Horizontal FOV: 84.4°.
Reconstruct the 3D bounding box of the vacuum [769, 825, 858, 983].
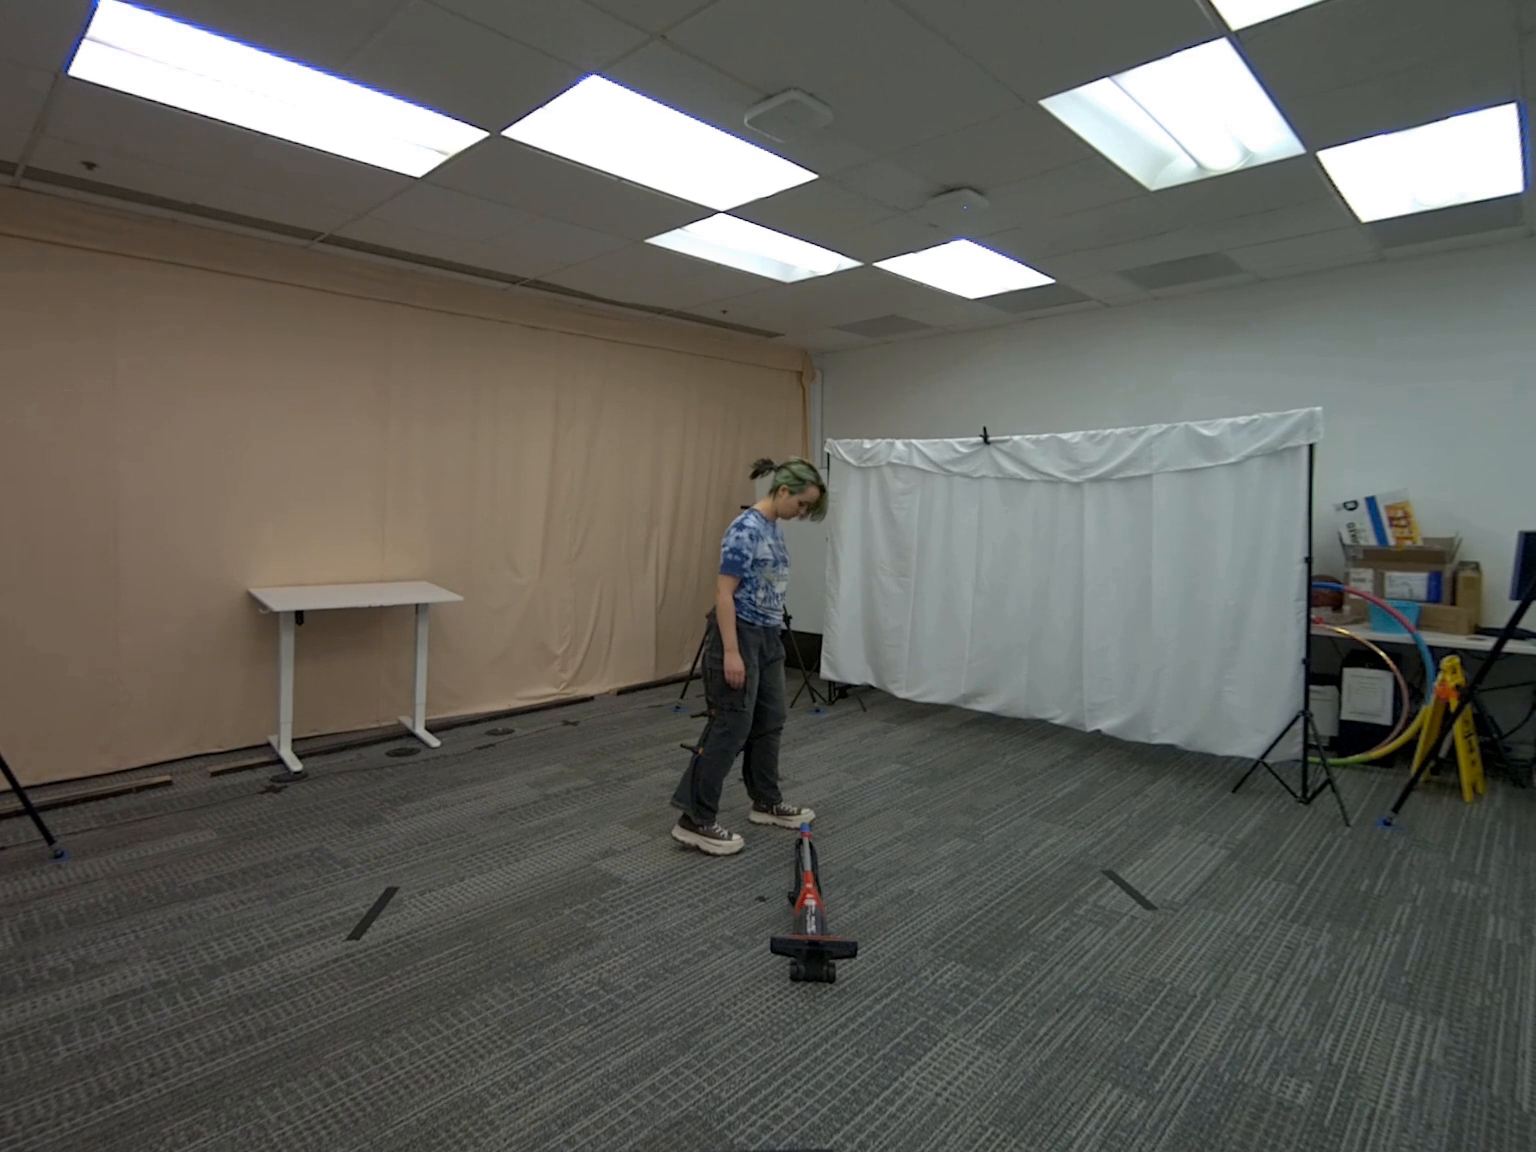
[{"bbox_3d":[0.141,1.075,2.964,0.253,0.144,1.048,0,3,0],"label":"vacuum"}]
